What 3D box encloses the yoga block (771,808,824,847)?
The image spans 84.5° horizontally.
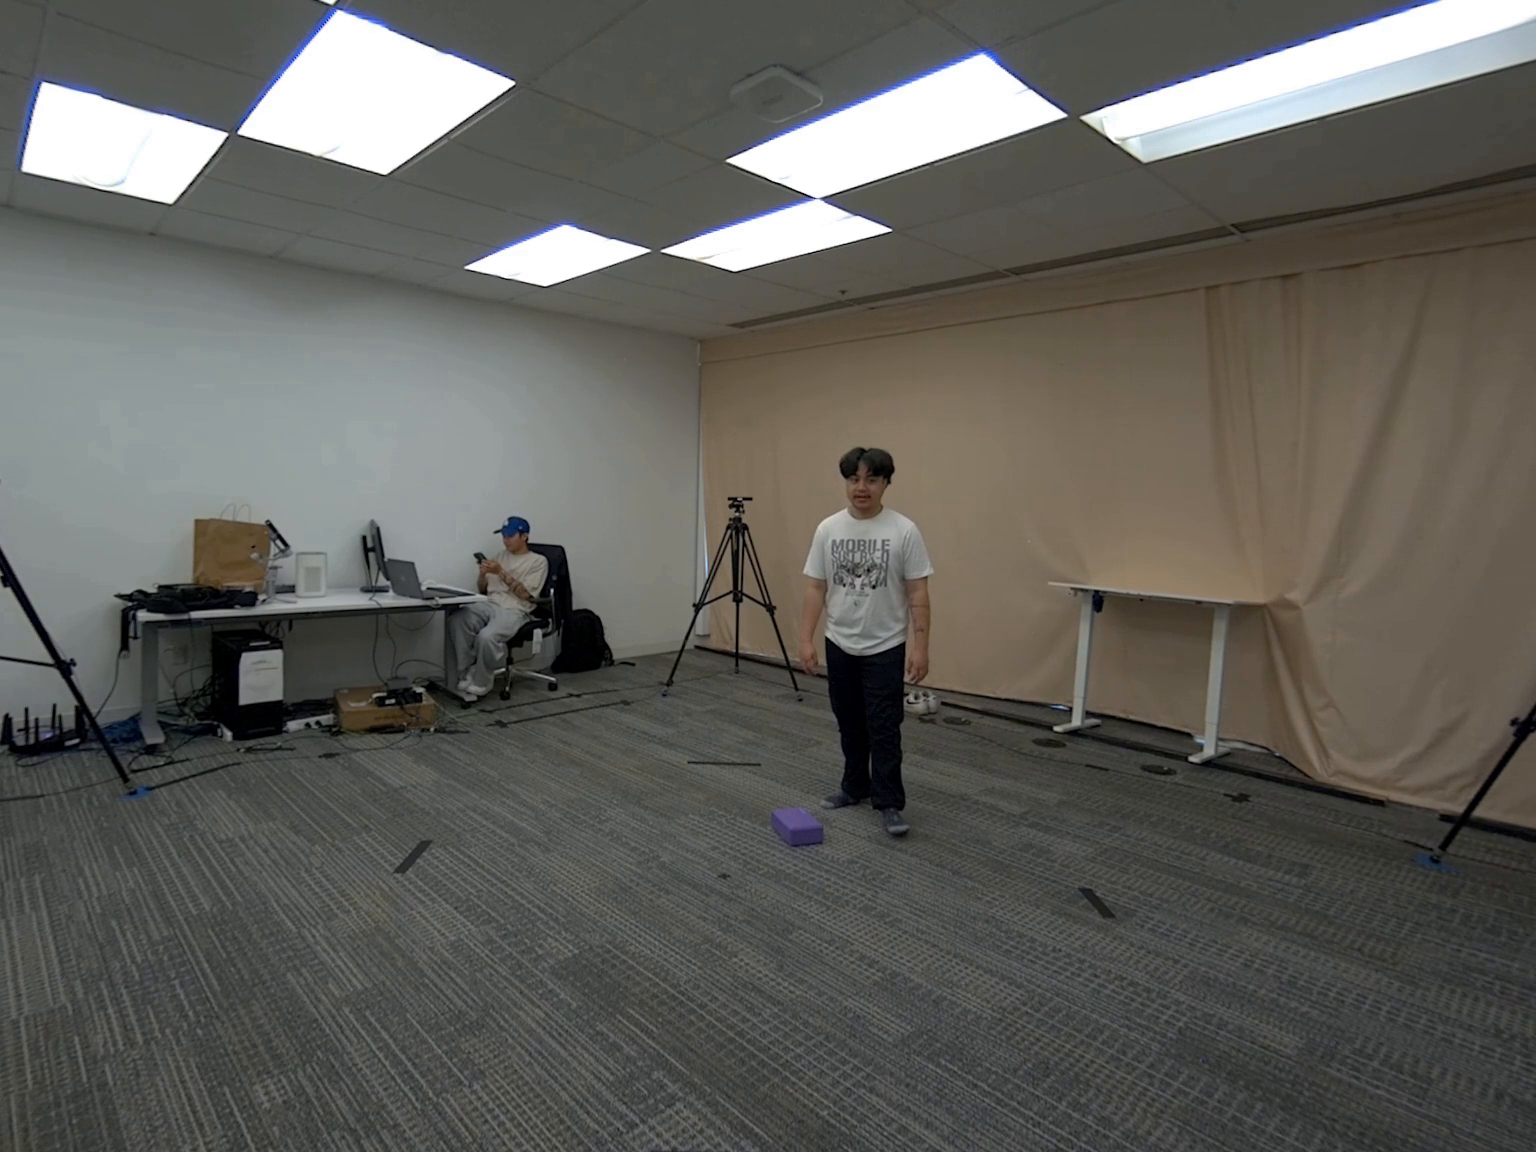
[{"bbox_3d":[0.110,1.038,3.504,0.147,0.076,0.233,-1,5,-18],"label":"yoga block"}]
